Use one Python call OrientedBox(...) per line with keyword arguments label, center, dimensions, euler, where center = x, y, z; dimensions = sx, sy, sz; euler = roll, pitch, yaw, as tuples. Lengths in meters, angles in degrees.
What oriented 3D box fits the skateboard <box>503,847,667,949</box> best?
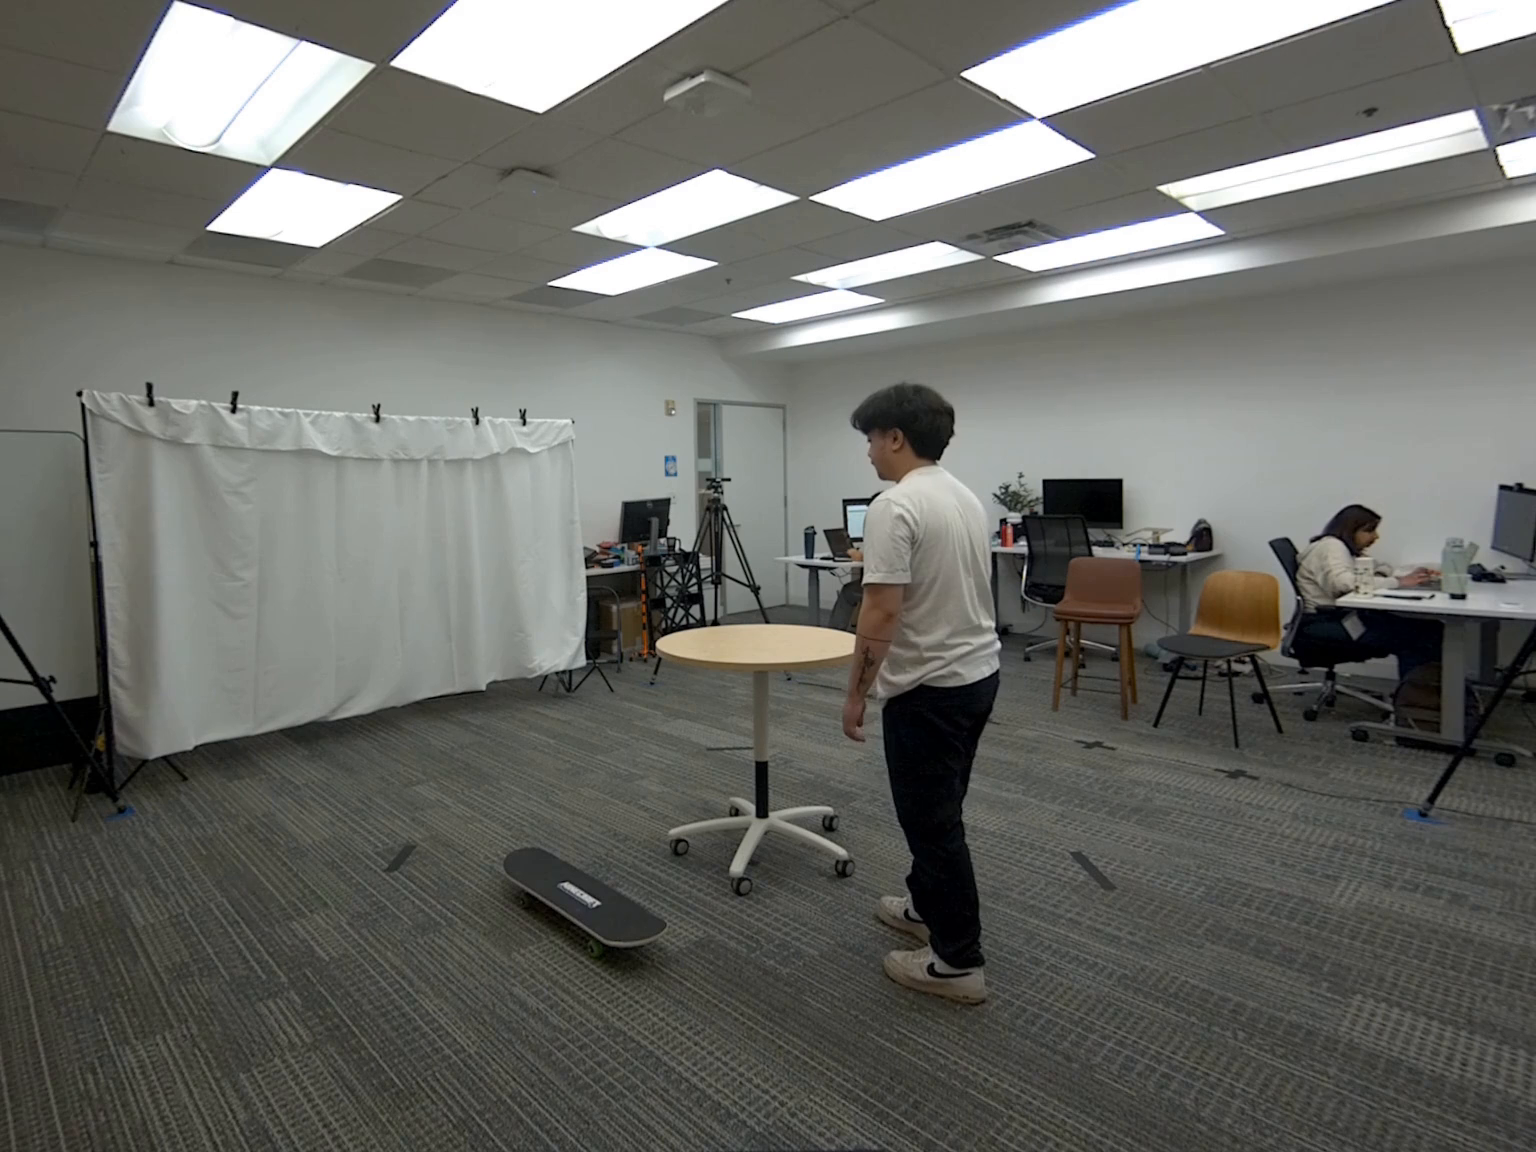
OrientedBox(label="skateboard", center=(-0.599, 1.051, 2.703), dimensions=(0.188, 0.110, 0.810), euler=(-7, 9, -44))
